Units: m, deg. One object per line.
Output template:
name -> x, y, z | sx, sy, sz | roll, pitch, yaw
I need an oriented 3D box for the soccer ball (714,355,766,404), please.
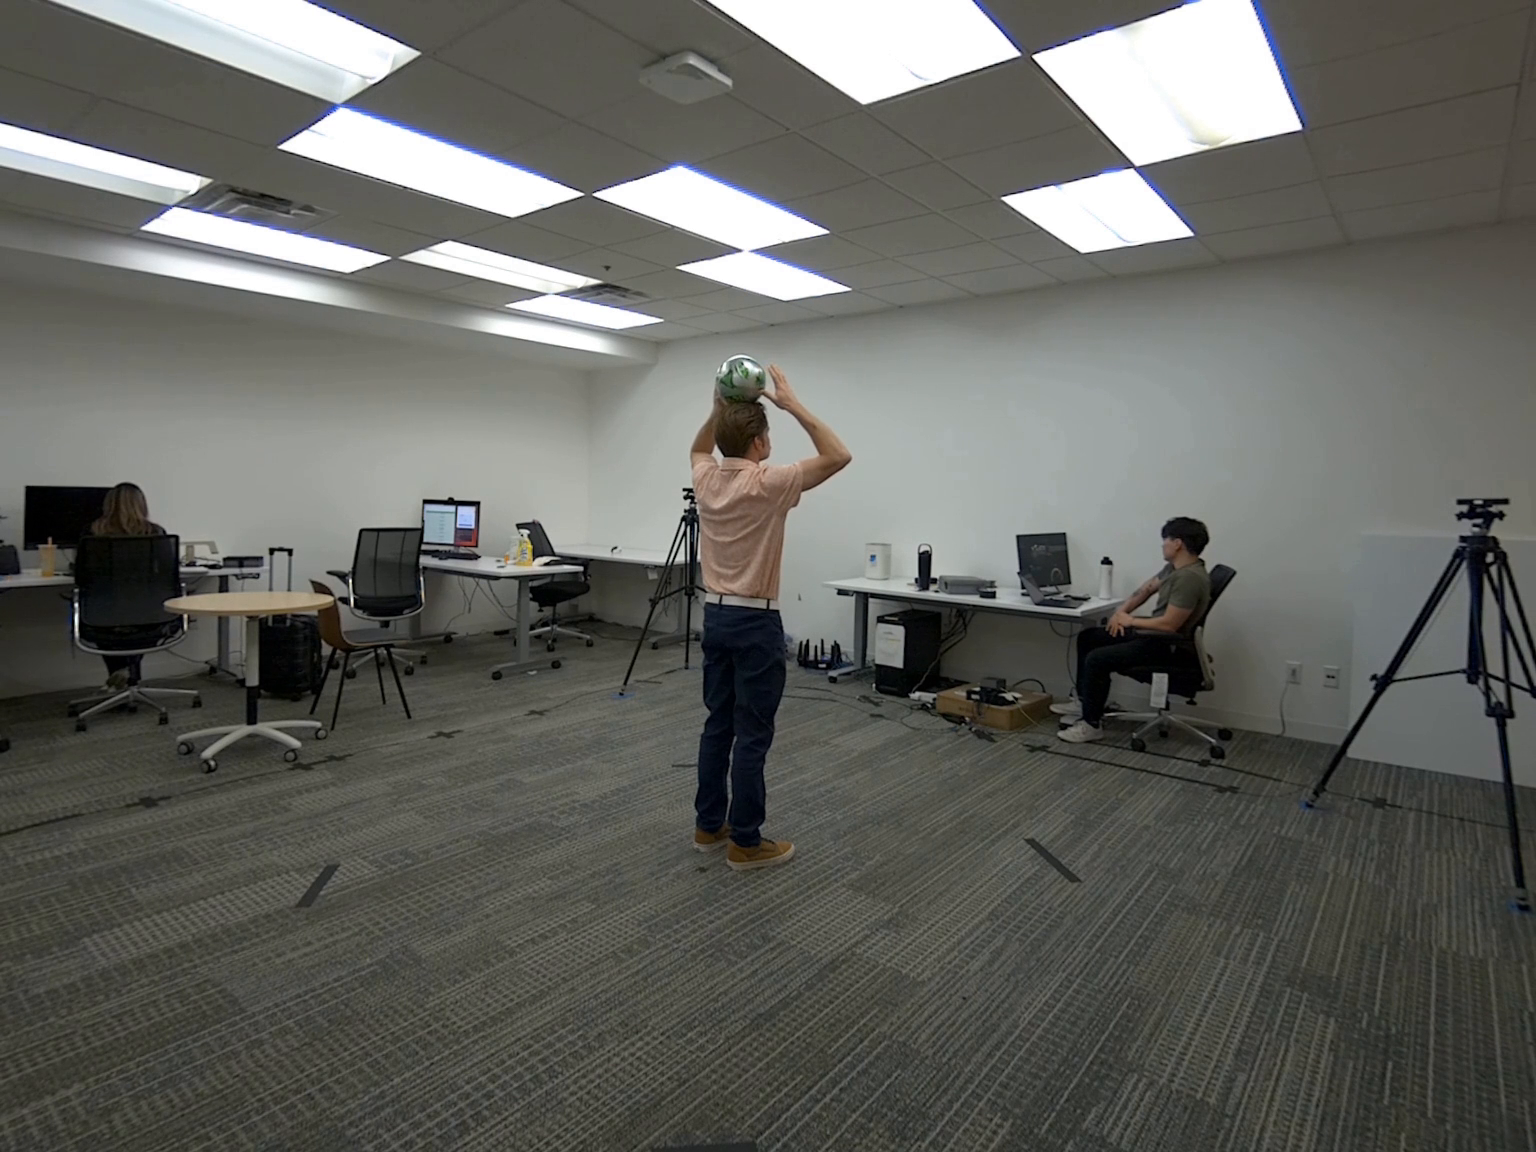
soccer ball -> -0.107, -0.727, 3.167 | 0.187, 0.187, 0.188 | 1, 4, -2
